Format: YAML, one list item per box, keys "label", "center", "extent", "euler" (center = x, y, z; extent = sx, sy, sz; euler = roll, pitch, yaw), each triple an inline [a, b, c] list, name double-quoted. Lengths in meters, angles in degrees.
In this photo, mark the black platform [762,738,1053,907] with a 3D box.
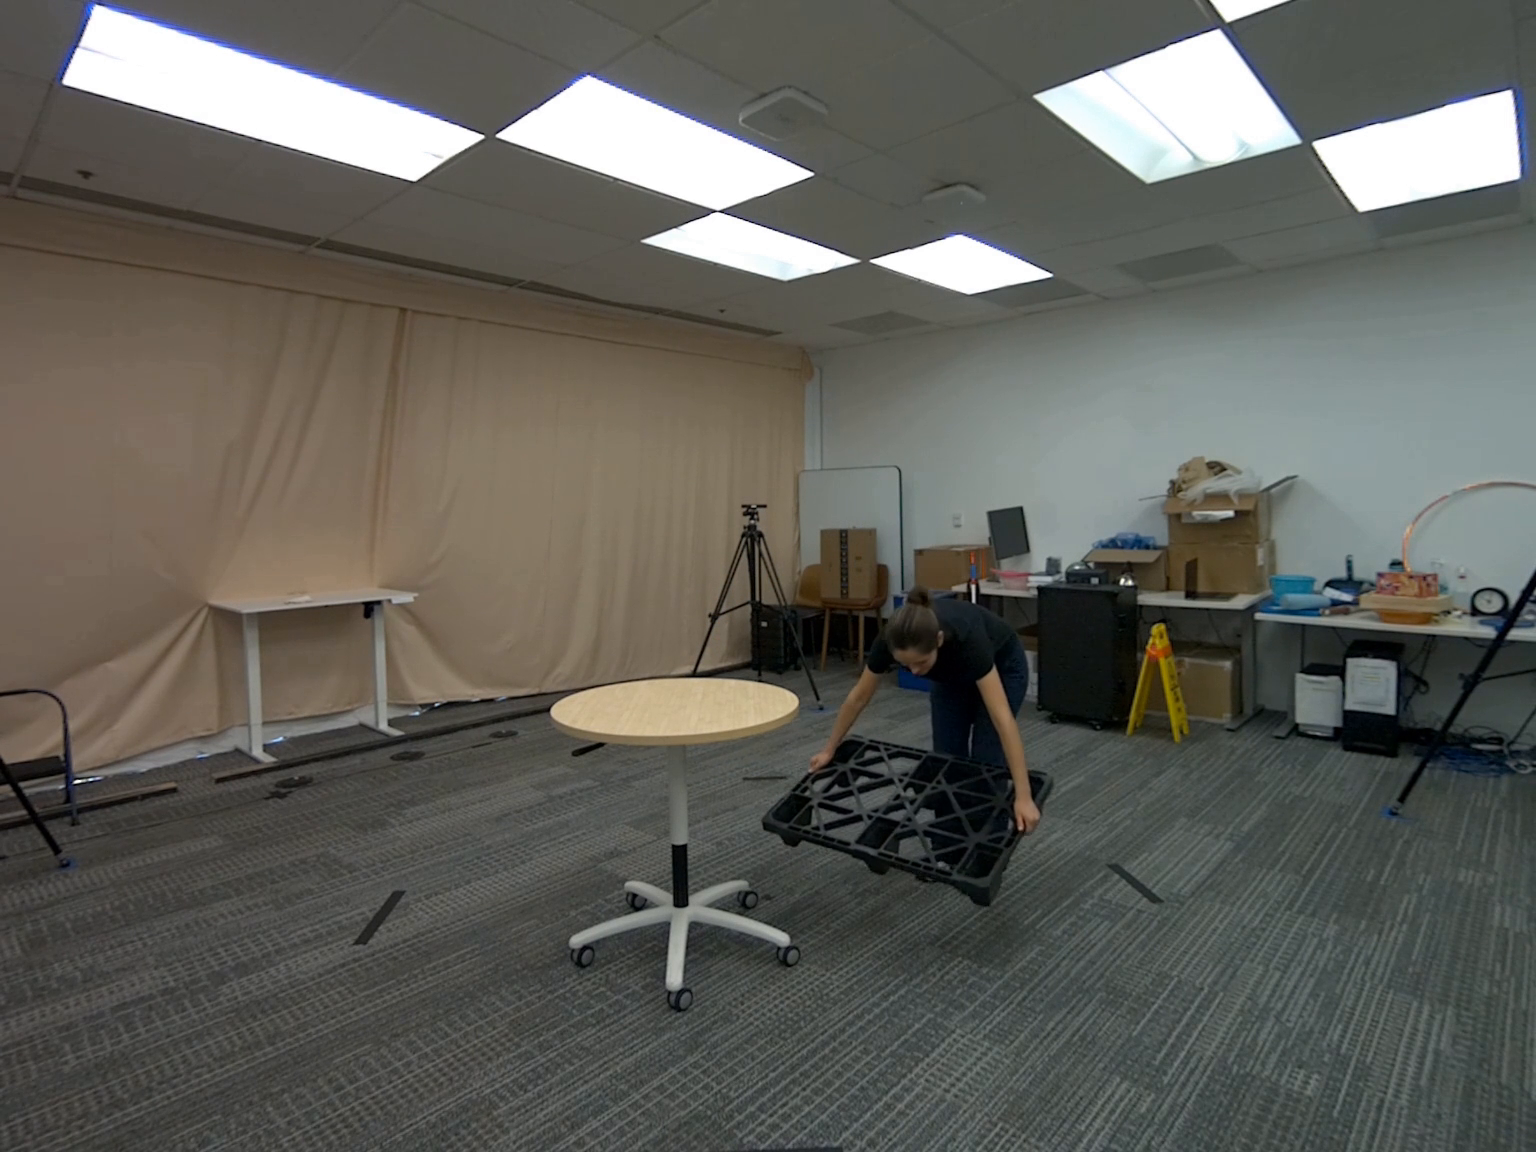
- label: "black platform"
  center: [0.489, 0.803, 2.859]
  extent: [0.832, 0.141, 0.594]
  euler: [4, 24, 38]
